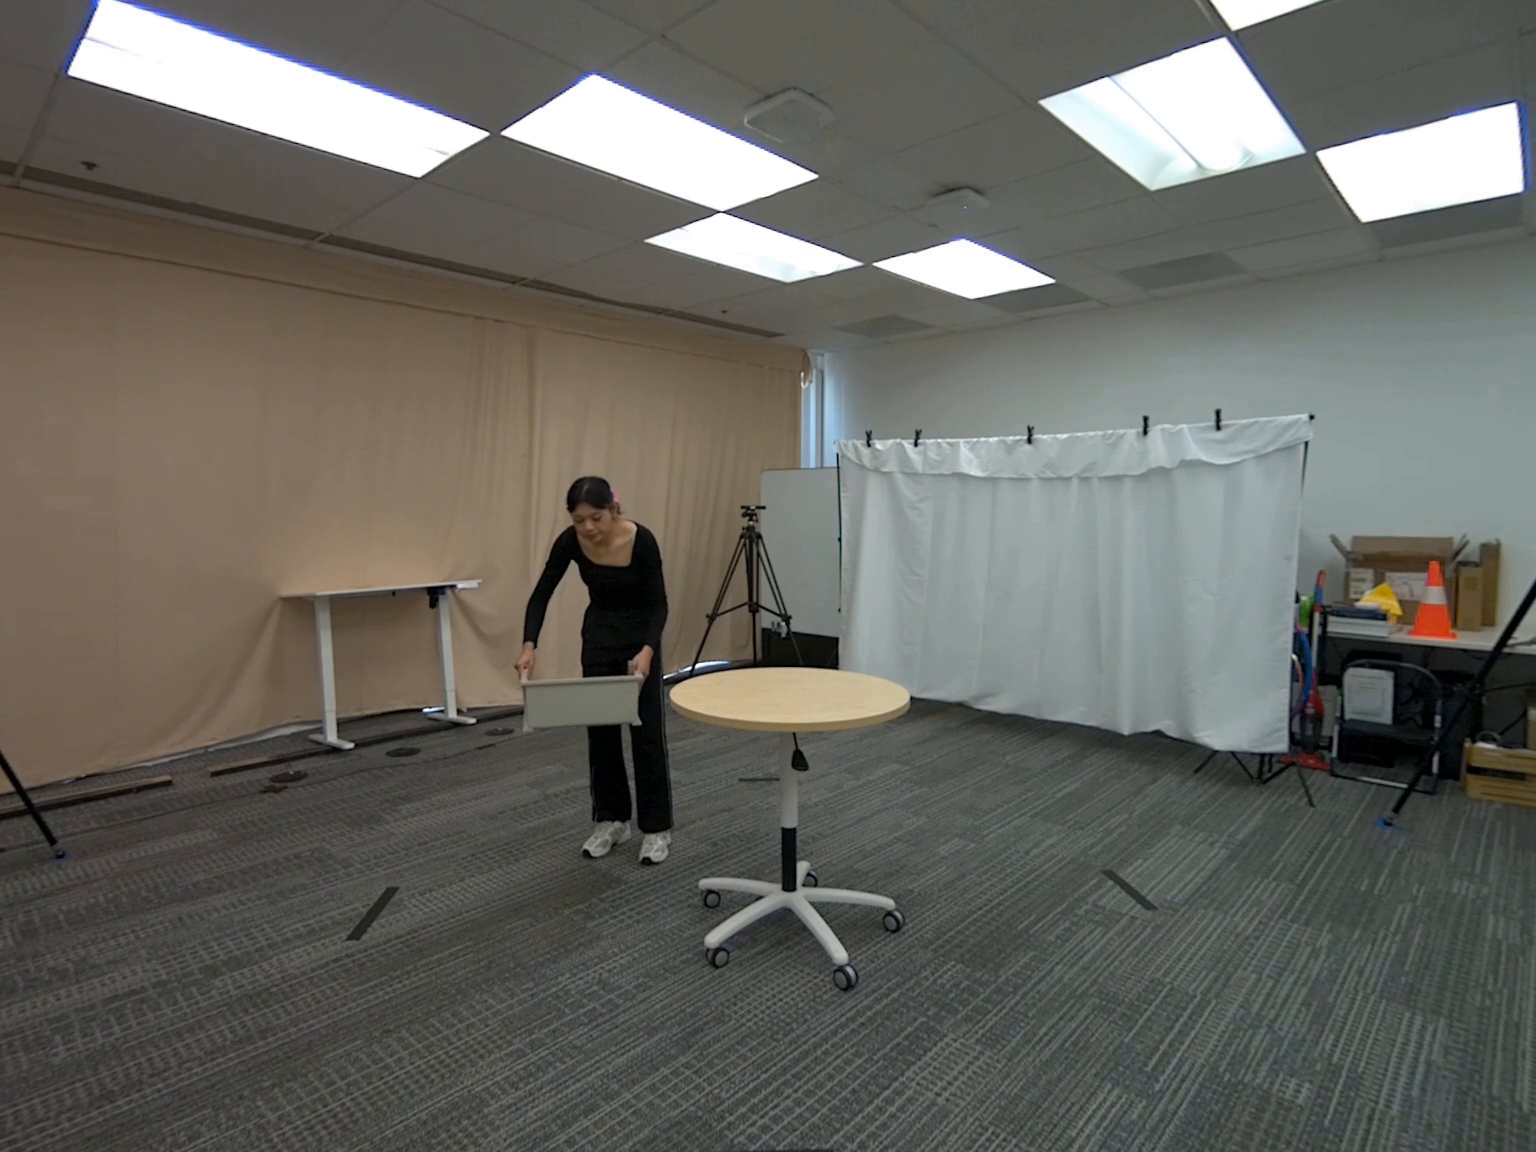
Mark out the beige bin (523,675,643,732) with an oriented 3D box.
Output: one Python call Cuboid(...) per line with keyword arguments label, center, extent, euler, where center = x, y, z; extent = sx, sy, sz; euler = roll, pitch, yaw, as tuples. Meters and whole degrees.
Cuboid(label="beige bin", center=(-0.699, 0.428, 3.126), extent=(0.417, 0.188, 0.384), euler=(-1, 7, -13))
